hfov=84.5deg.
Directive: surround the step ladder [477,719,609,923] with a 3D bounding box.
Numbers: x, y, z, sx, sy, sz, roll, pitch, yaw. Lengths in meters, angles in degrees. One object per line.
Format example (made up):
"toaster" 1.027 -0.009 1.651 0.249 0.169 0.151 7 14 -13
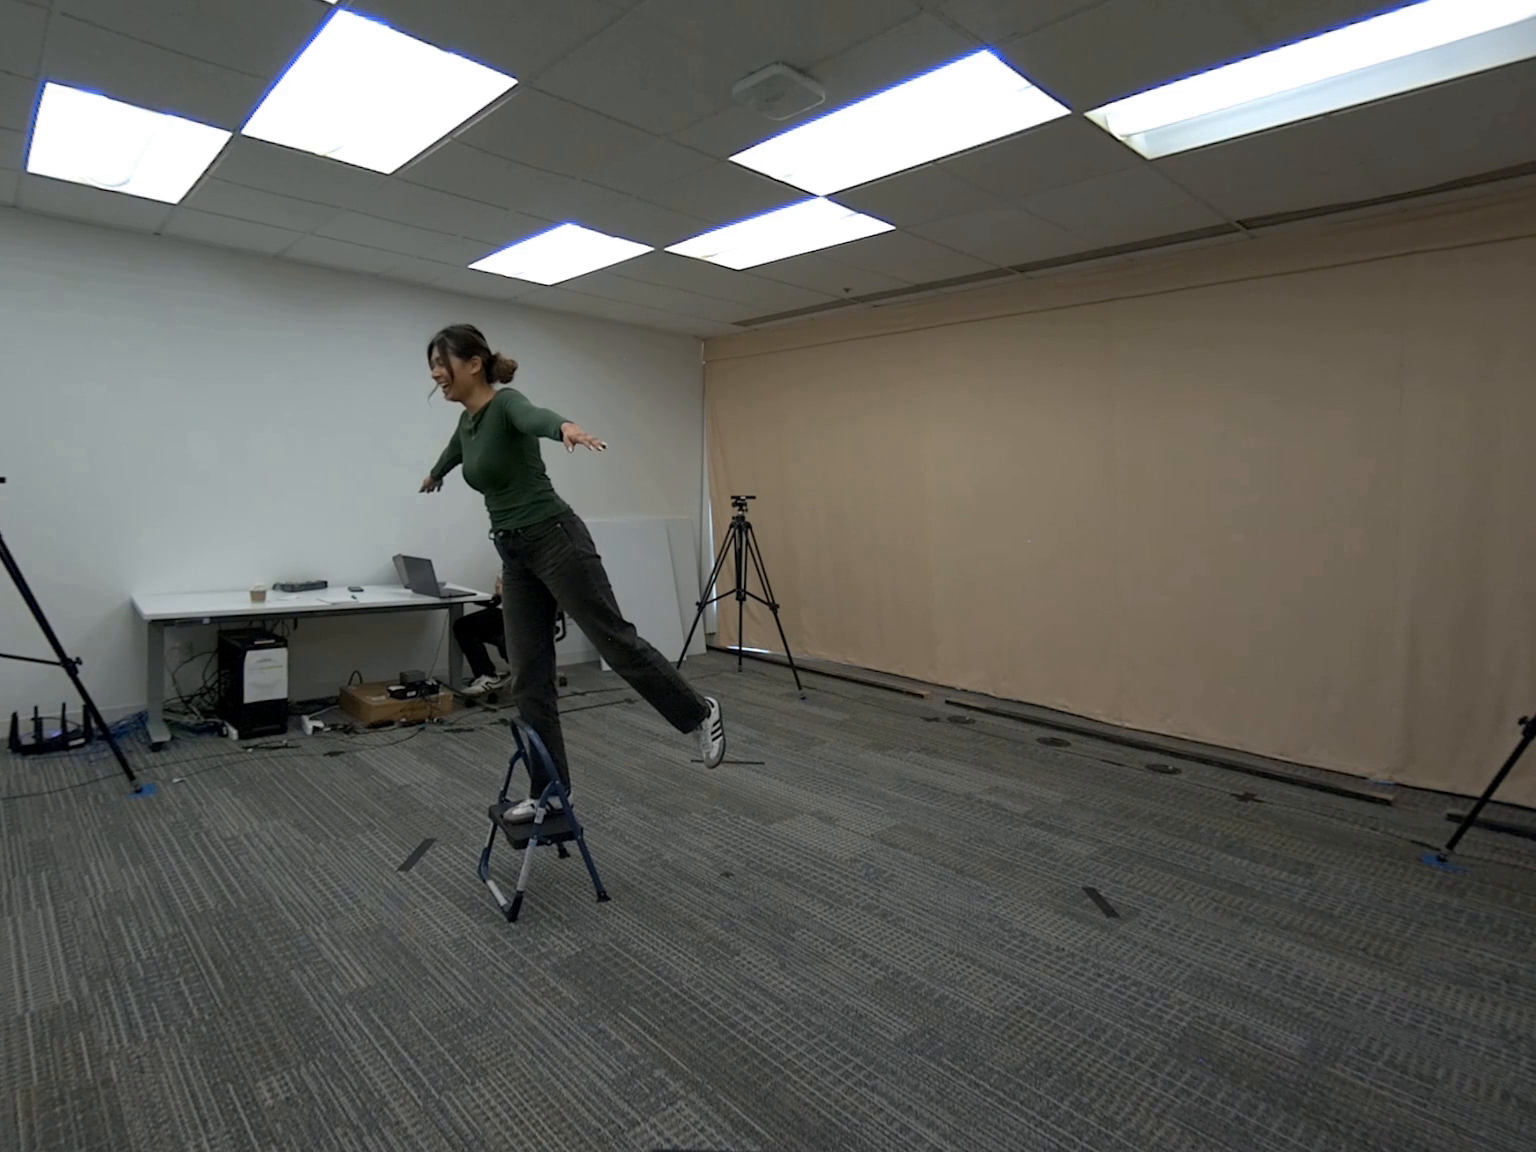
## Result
"step ladder" -0.801 0.801 2.960 0.342 0.604 0.441 -1 4 -33
